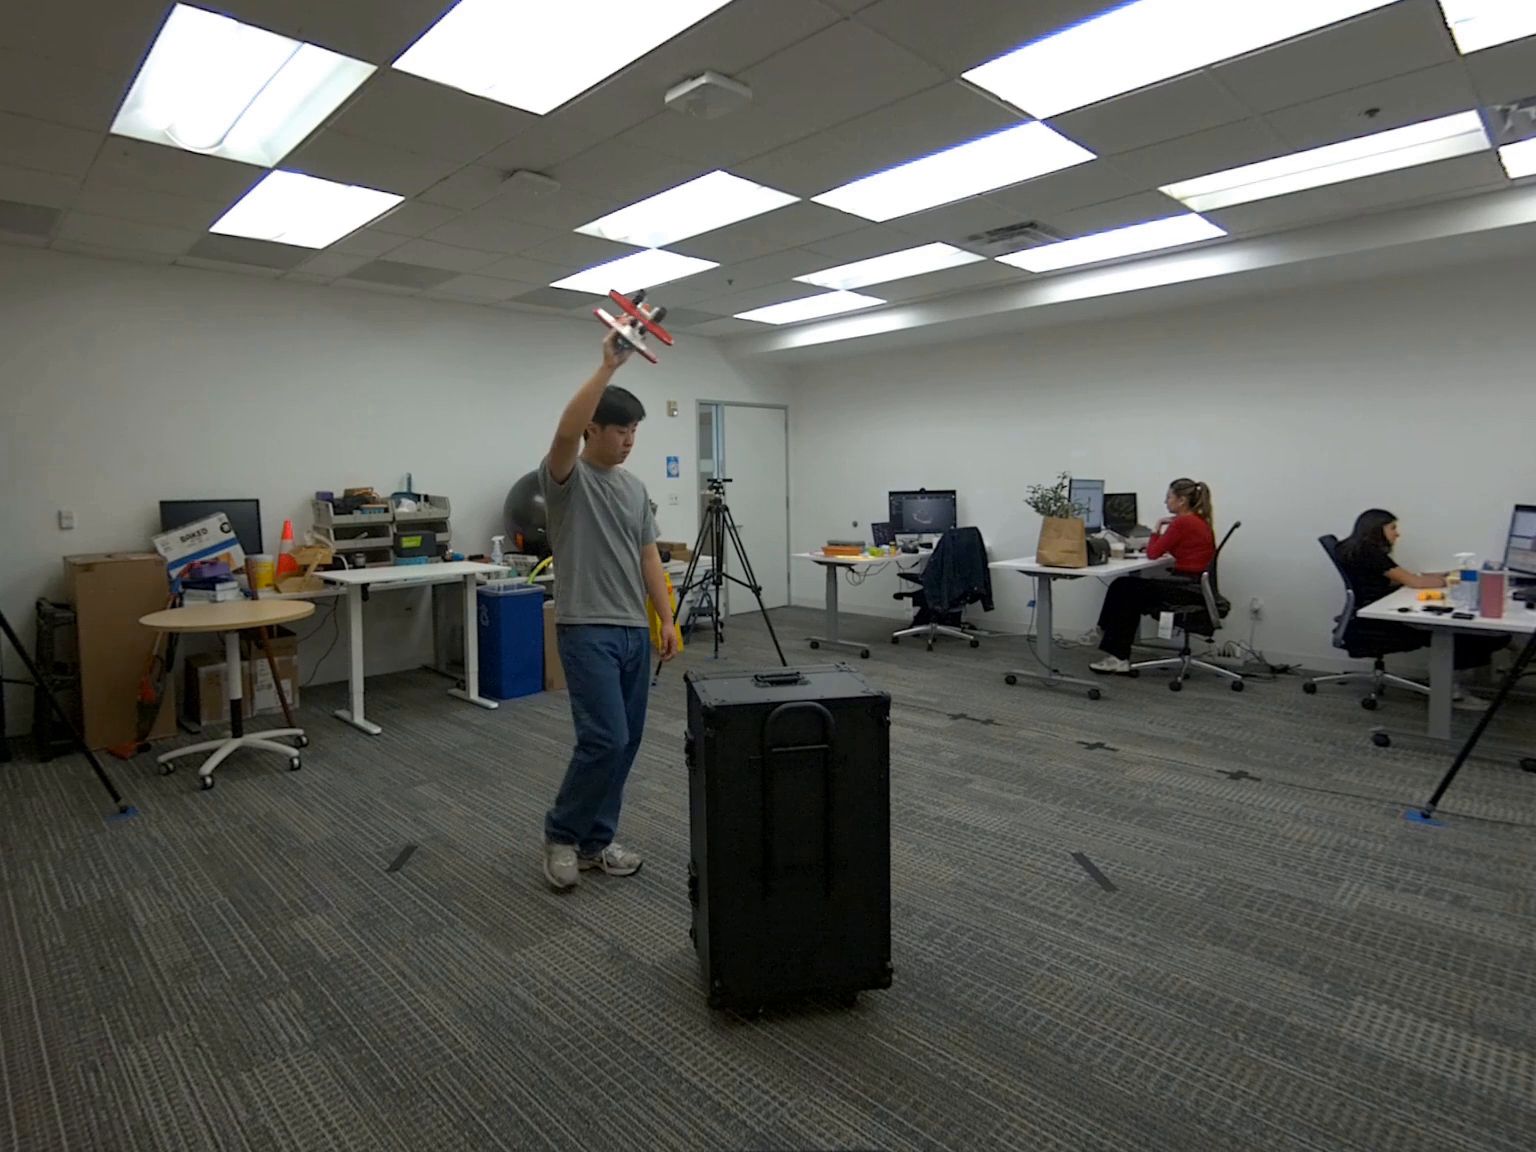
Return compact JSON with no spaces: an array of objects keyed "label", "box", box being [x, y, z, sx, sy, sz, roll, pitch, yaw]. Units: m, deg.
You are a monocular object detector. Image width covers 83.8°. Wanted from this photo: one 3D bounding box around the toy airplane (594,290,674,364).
[{"label":"toy airplane","box":[-0.437,-0.792,2.667,0.157,0.253,0.256,-42,-7,34]}]
